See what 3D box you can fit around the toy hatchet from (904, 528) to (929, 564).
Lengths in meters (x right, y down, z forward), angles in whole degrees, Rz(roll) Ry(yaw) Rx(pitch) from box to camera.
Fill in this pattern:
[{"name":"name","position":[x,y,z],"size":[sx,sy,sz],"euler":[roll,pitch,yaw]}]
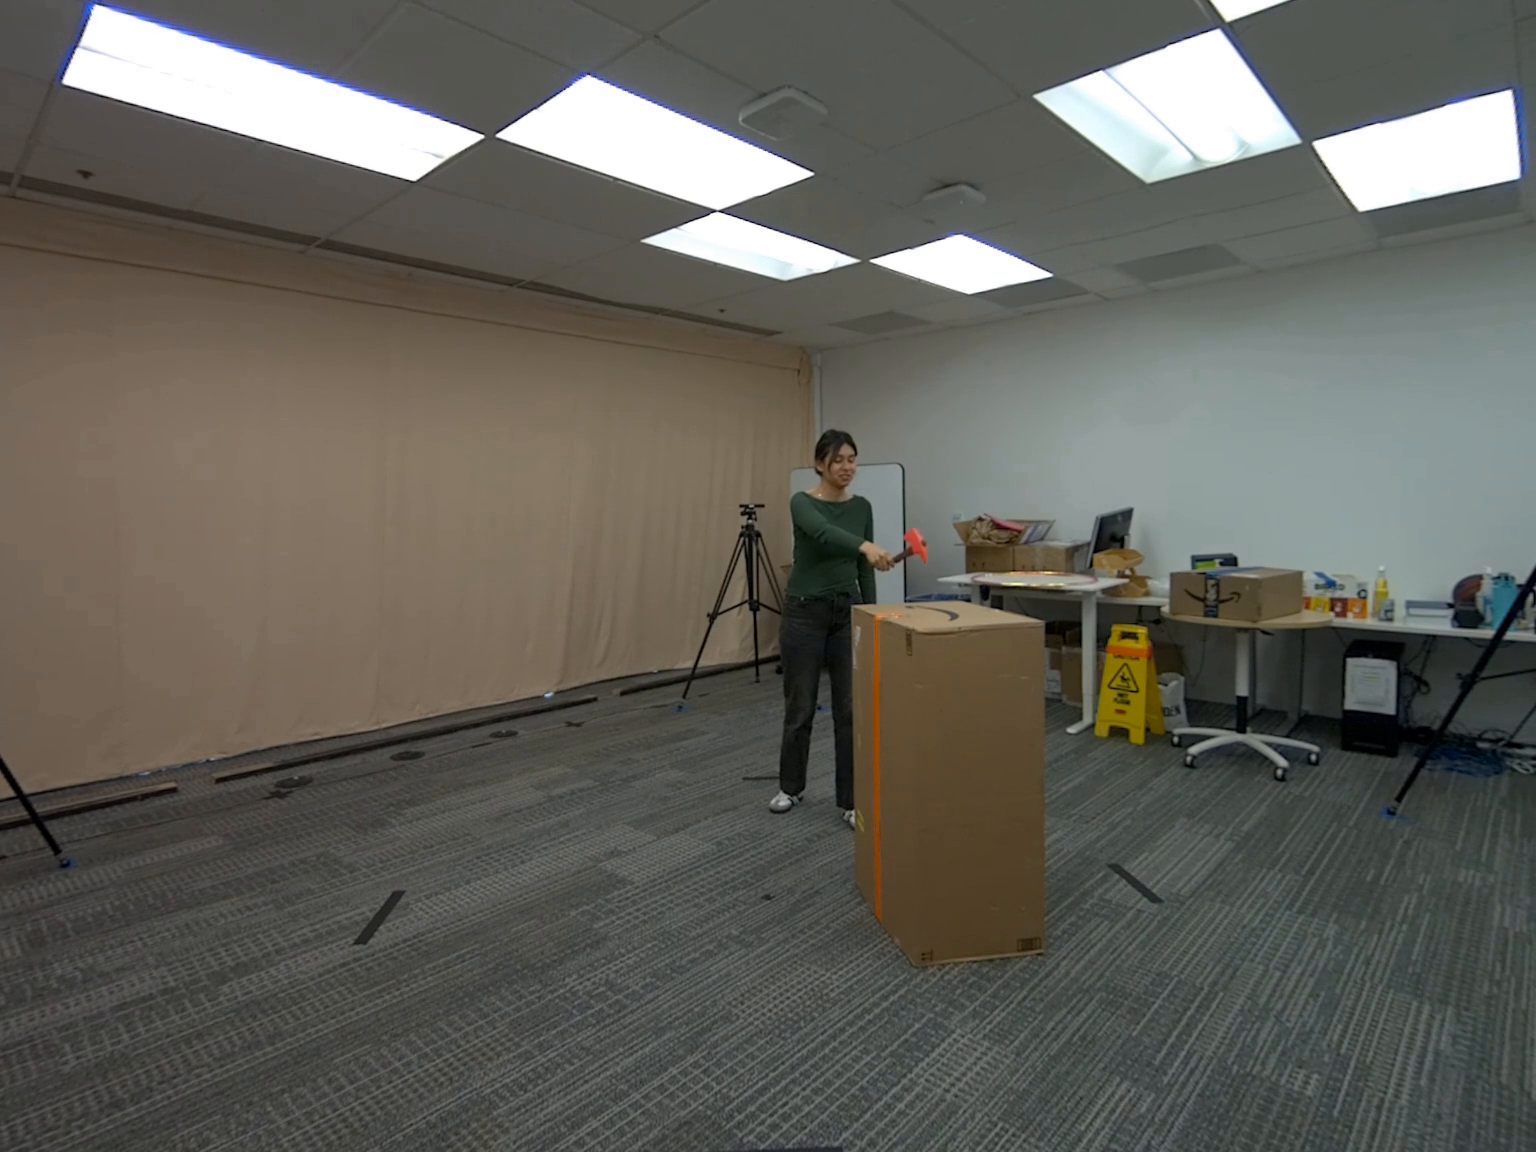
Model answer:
[{"name":"toy hatchet","position":[0.474,-0.102,3.051],"size":[0.029,0.131,0.278],"euler":[-5,-1,-38]}]
